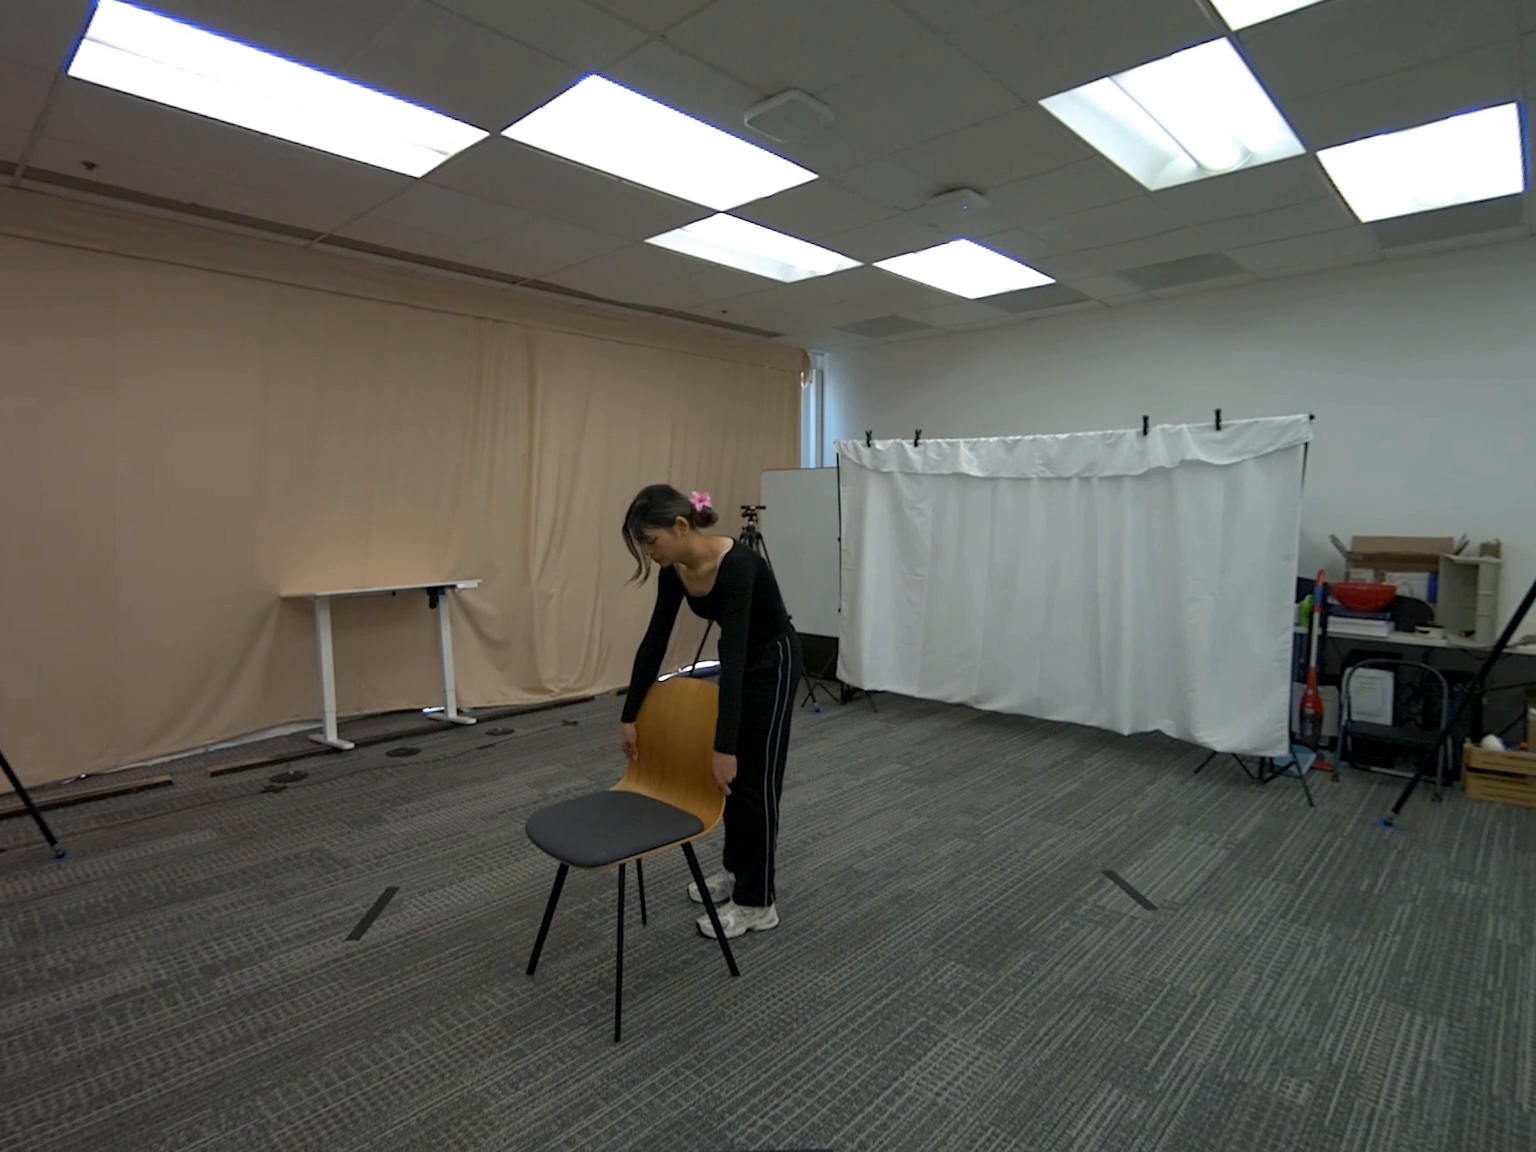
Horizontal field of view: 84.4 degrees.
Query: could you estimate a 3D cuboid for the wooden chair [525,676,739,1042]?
[{"bbox_3d":[-0.405,0.764,2.466,0.494,0.877,0.506,3,1,45],"label":"wooden chair"}]
